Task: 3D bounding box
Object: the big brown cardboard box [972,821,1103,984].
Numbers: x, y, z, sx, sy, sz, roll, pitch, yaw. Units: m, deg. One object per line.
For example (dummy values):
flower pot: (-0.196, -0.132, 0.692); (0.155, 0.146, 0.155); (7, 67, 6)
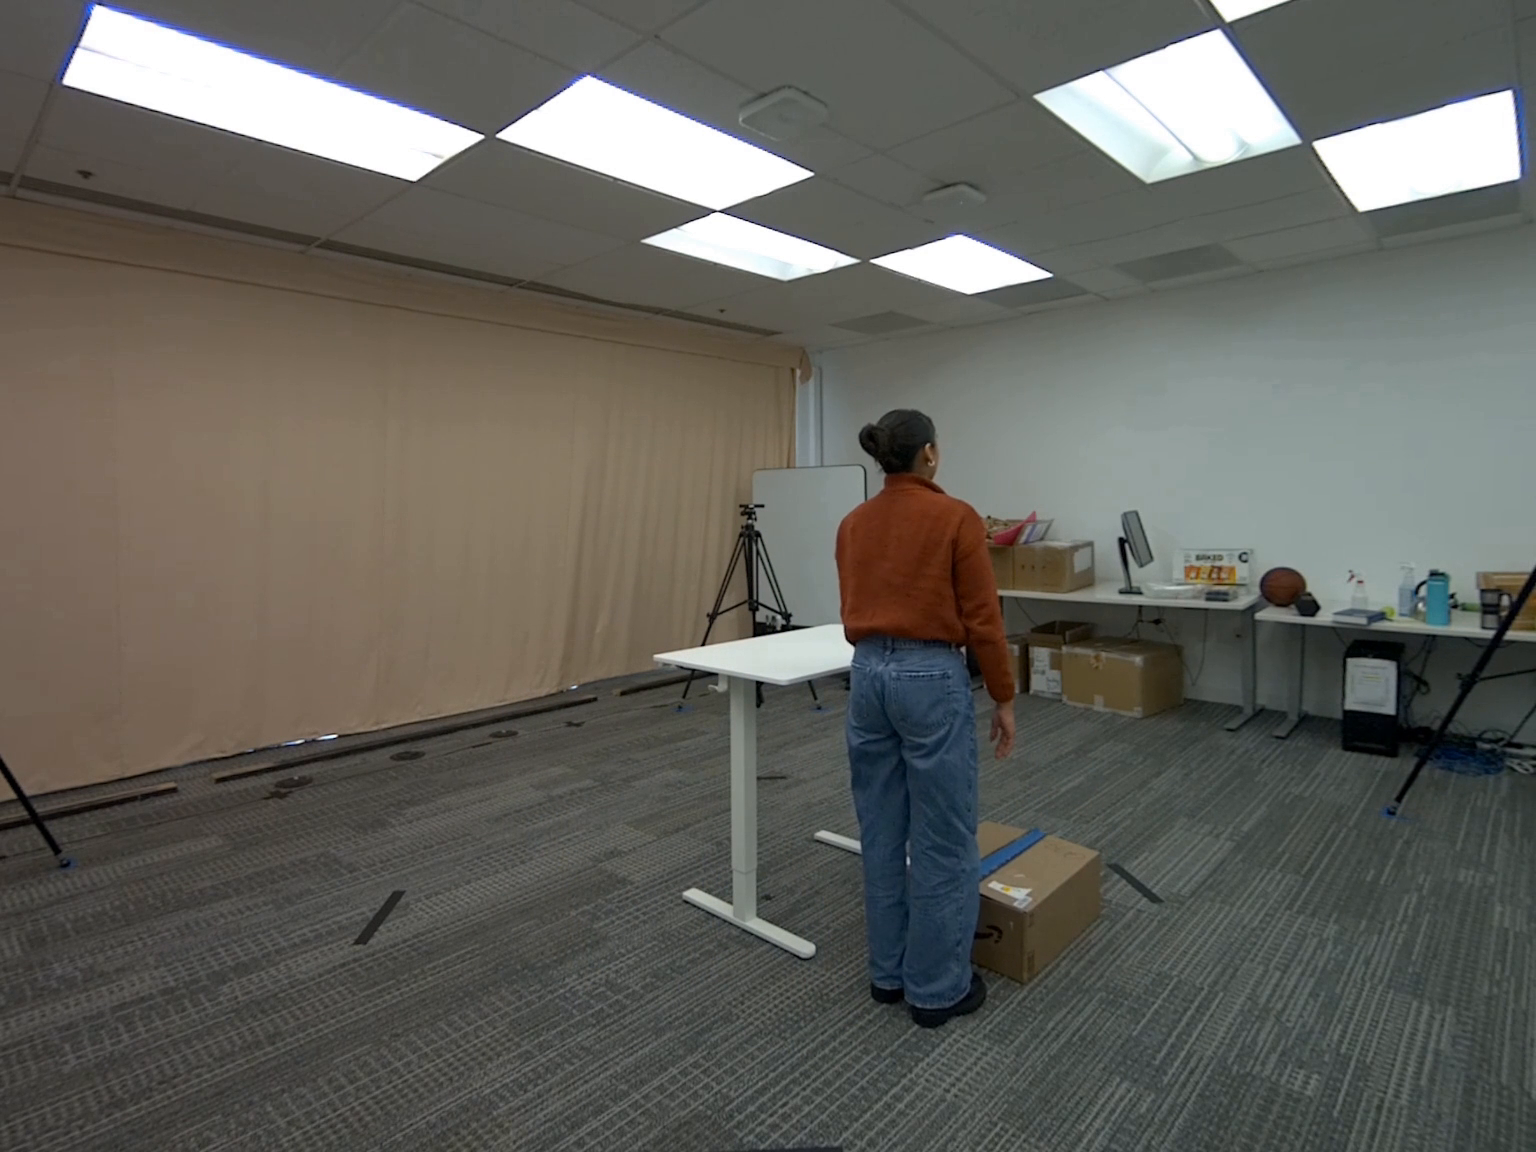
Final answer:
big brown cardboard box: (0.775, 1.036, 2.752); (0.431, 0.232, 0.571); (4, 6, 43)
